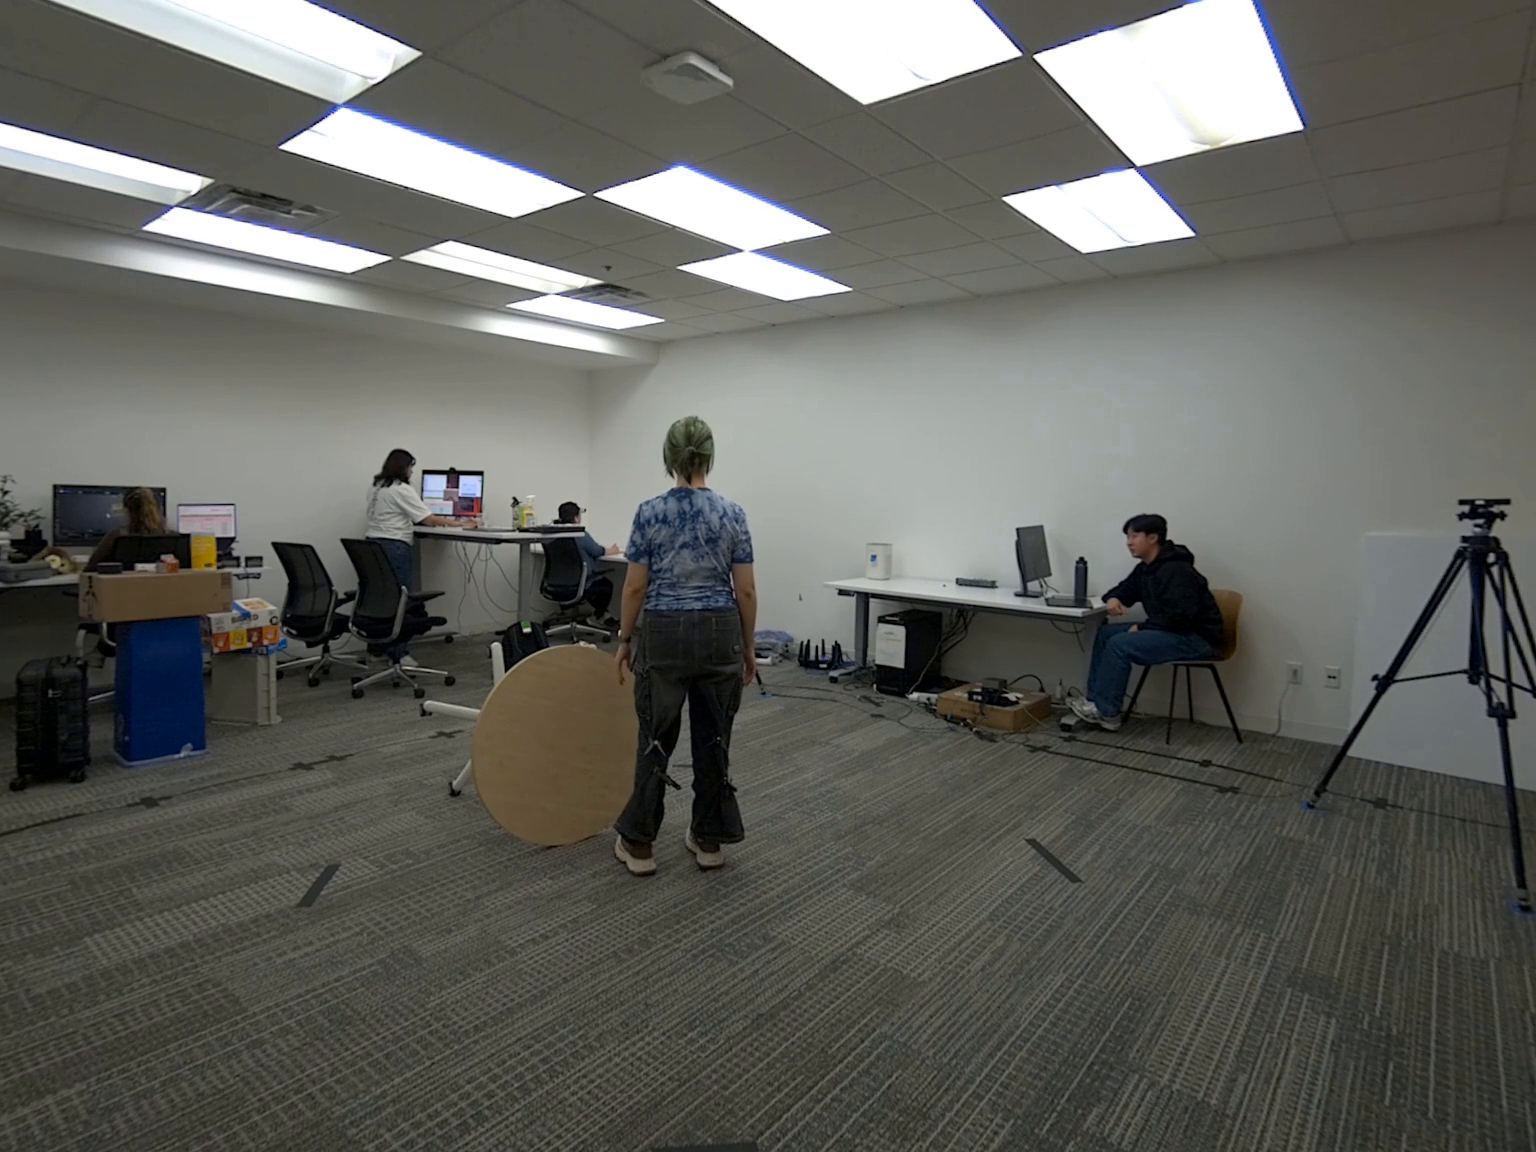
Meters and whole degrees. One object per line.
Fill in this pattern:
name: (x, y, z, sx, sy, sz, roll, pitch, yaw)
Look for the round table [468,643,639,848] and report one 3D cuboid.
round table: (-1.051, 0.663, 3.653, 0.741, 0.765, 0.817, -2, -1, -38)
